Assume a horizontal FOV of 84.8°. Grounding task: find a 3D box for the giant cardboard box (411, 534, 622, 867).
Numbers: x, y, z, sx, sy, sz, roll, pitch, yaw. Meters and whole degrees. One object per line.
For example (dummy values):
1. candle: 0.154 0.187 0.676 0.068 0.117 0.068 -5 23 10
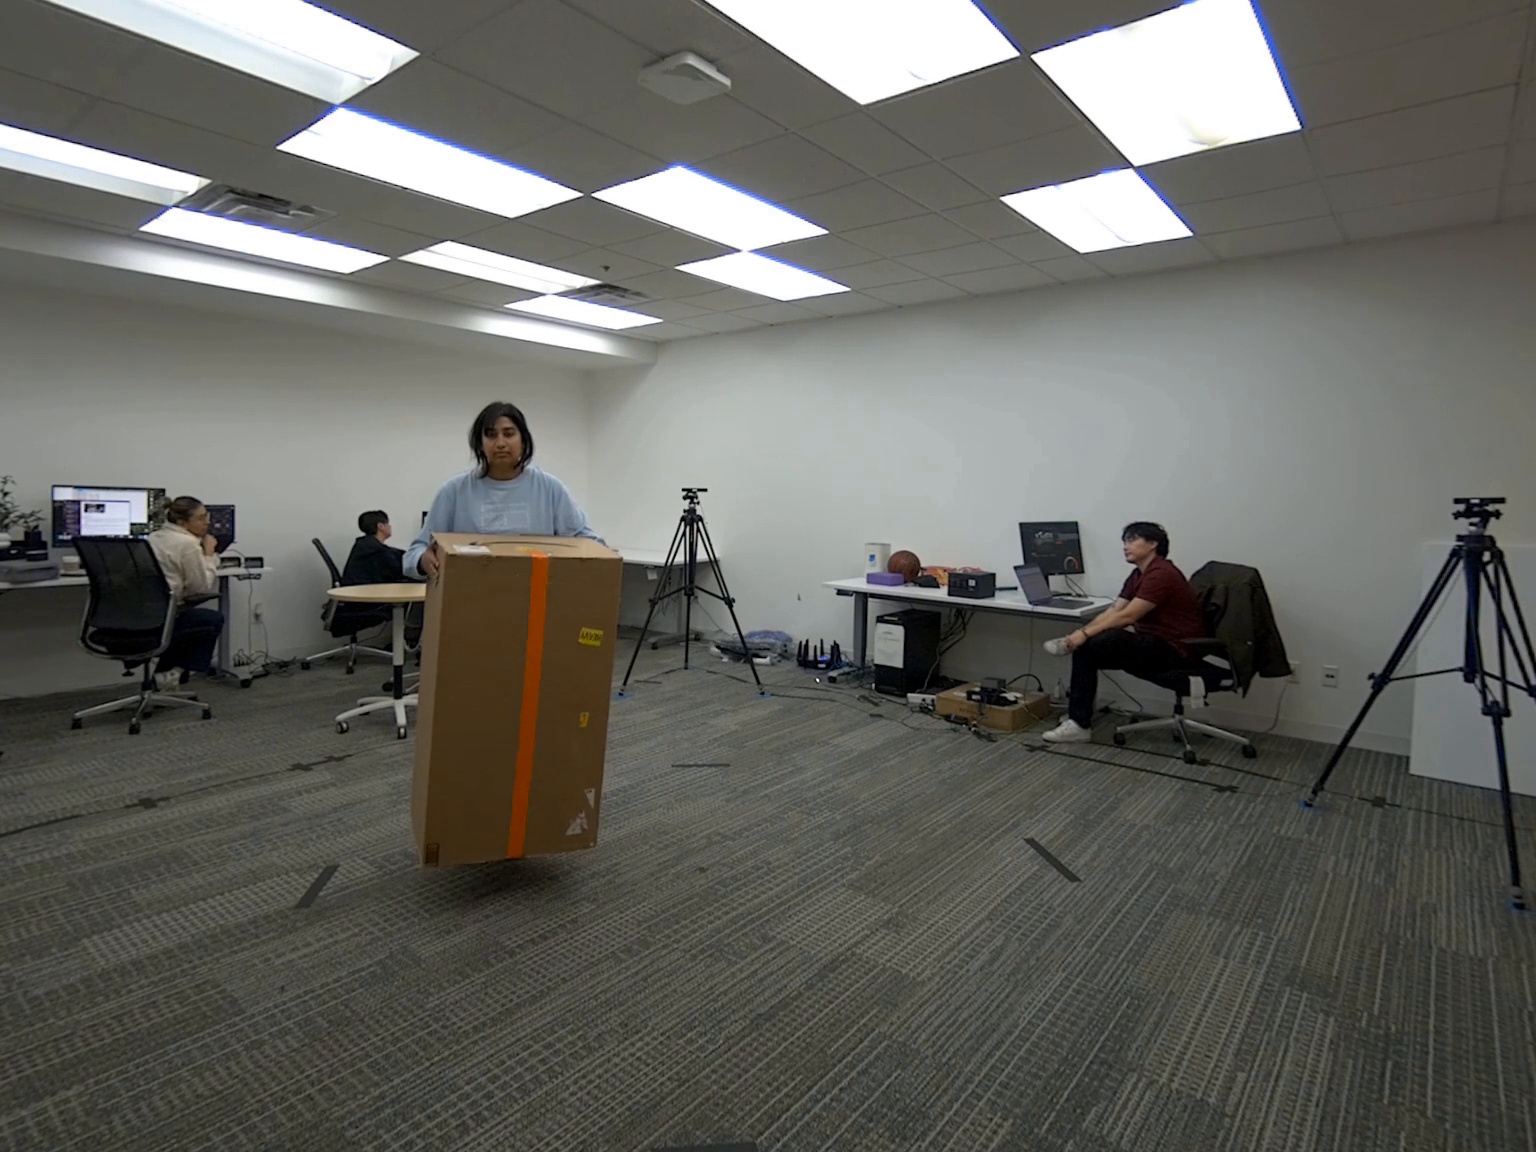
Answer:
1. giant cardboard box: -0.889 0.401 2.924 0.563 1.019 0.440 2 9 -27
